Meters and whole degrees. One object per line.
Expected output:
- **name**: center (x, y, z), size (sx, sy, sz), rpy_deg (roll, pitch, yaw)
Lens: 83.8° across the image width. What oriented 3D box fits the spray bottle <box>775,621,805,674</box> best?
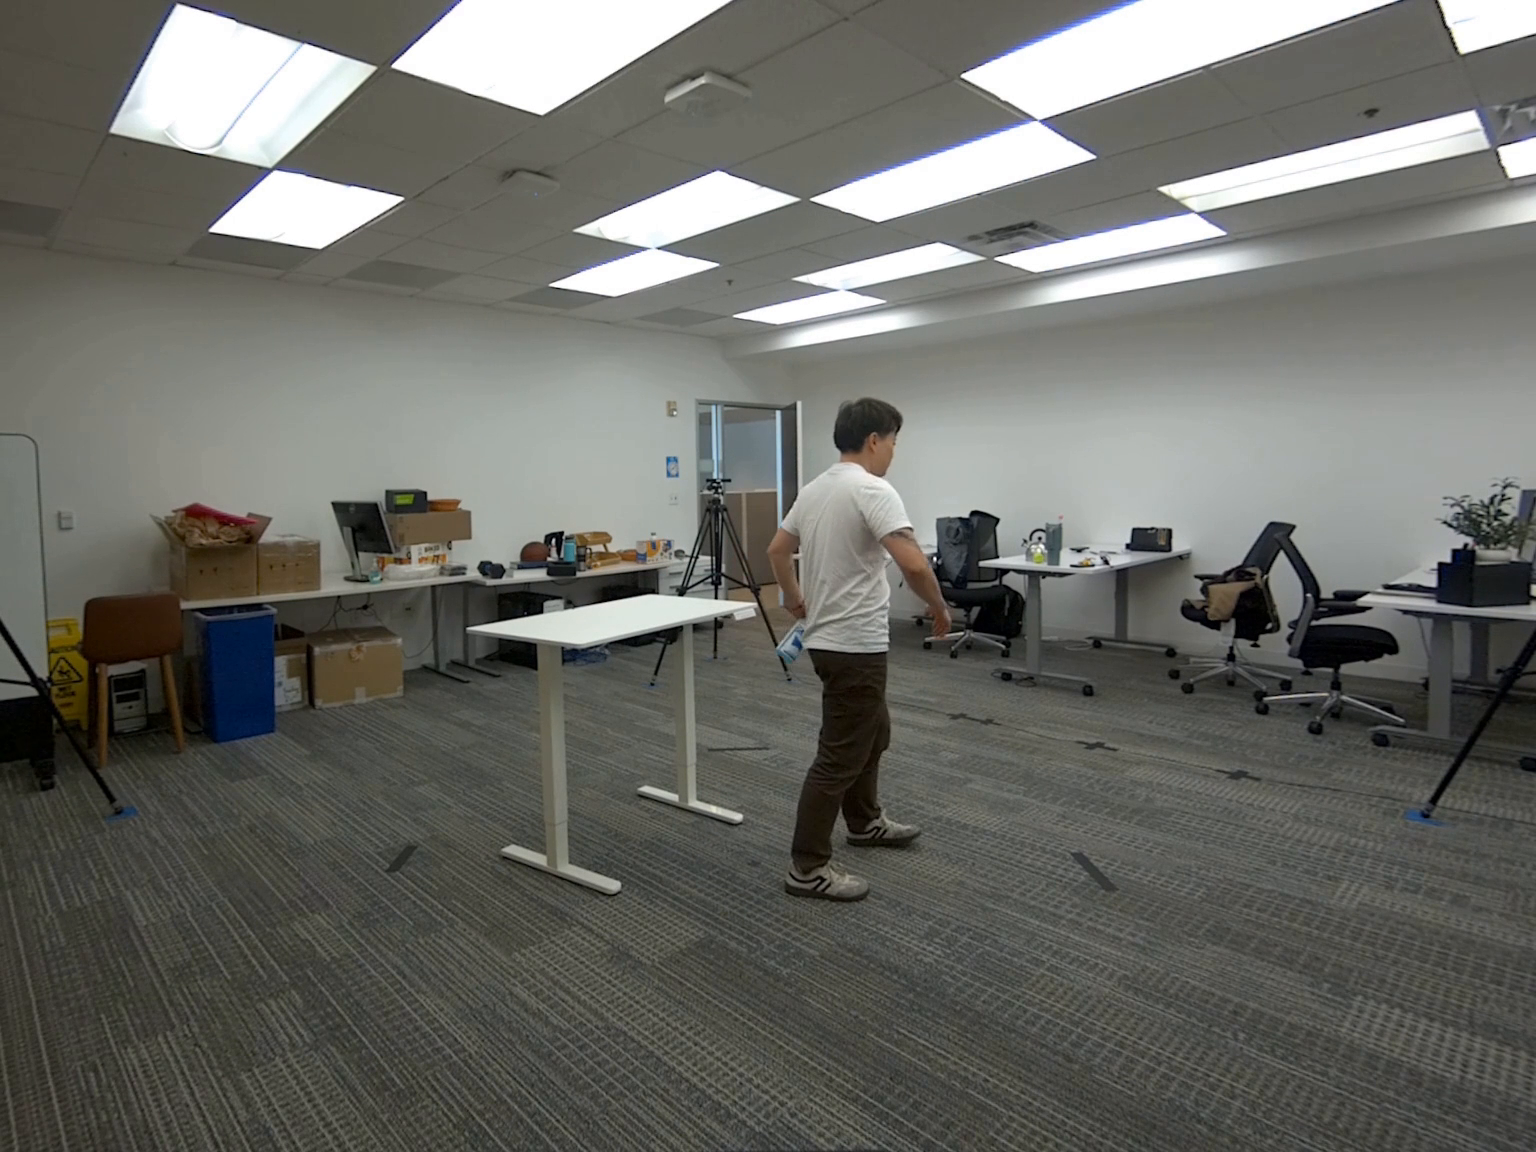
- **spray bottle**: center (0.158, 0.202, 3.267), size (0.086, 0.297, 0.090), rpy_deg (42, -2, -40)
